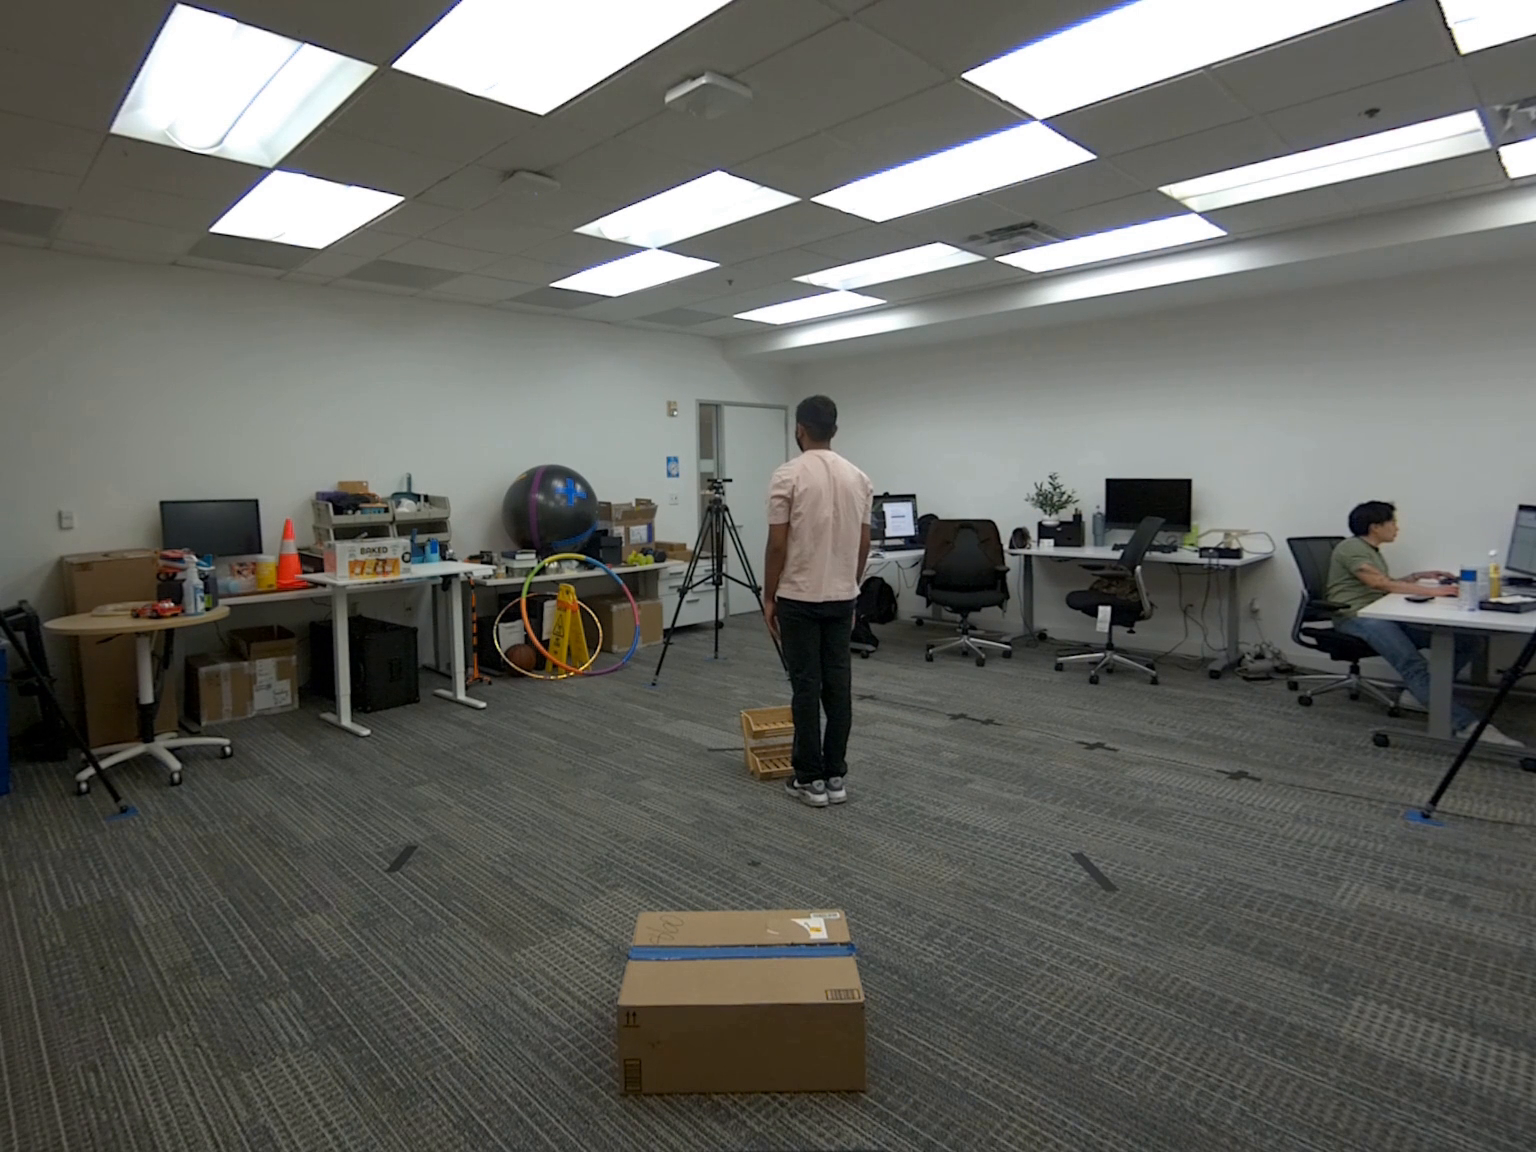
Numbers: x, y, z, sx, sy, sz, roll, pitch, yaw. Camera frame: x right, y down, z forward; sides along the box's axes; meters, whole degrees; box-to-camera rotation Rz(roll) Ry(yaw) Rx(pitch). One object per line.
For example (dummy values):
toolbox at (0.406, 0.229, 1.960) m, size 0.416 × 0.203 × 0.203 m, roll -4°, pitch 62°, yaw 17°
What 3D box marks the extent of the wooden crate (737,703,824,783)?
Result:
wooden crate at (0.057, 0.790, 4.114) m, size 0.319 × 0.272 × 0.308 m, roll -3°, pitch 5°, yaw -18°
